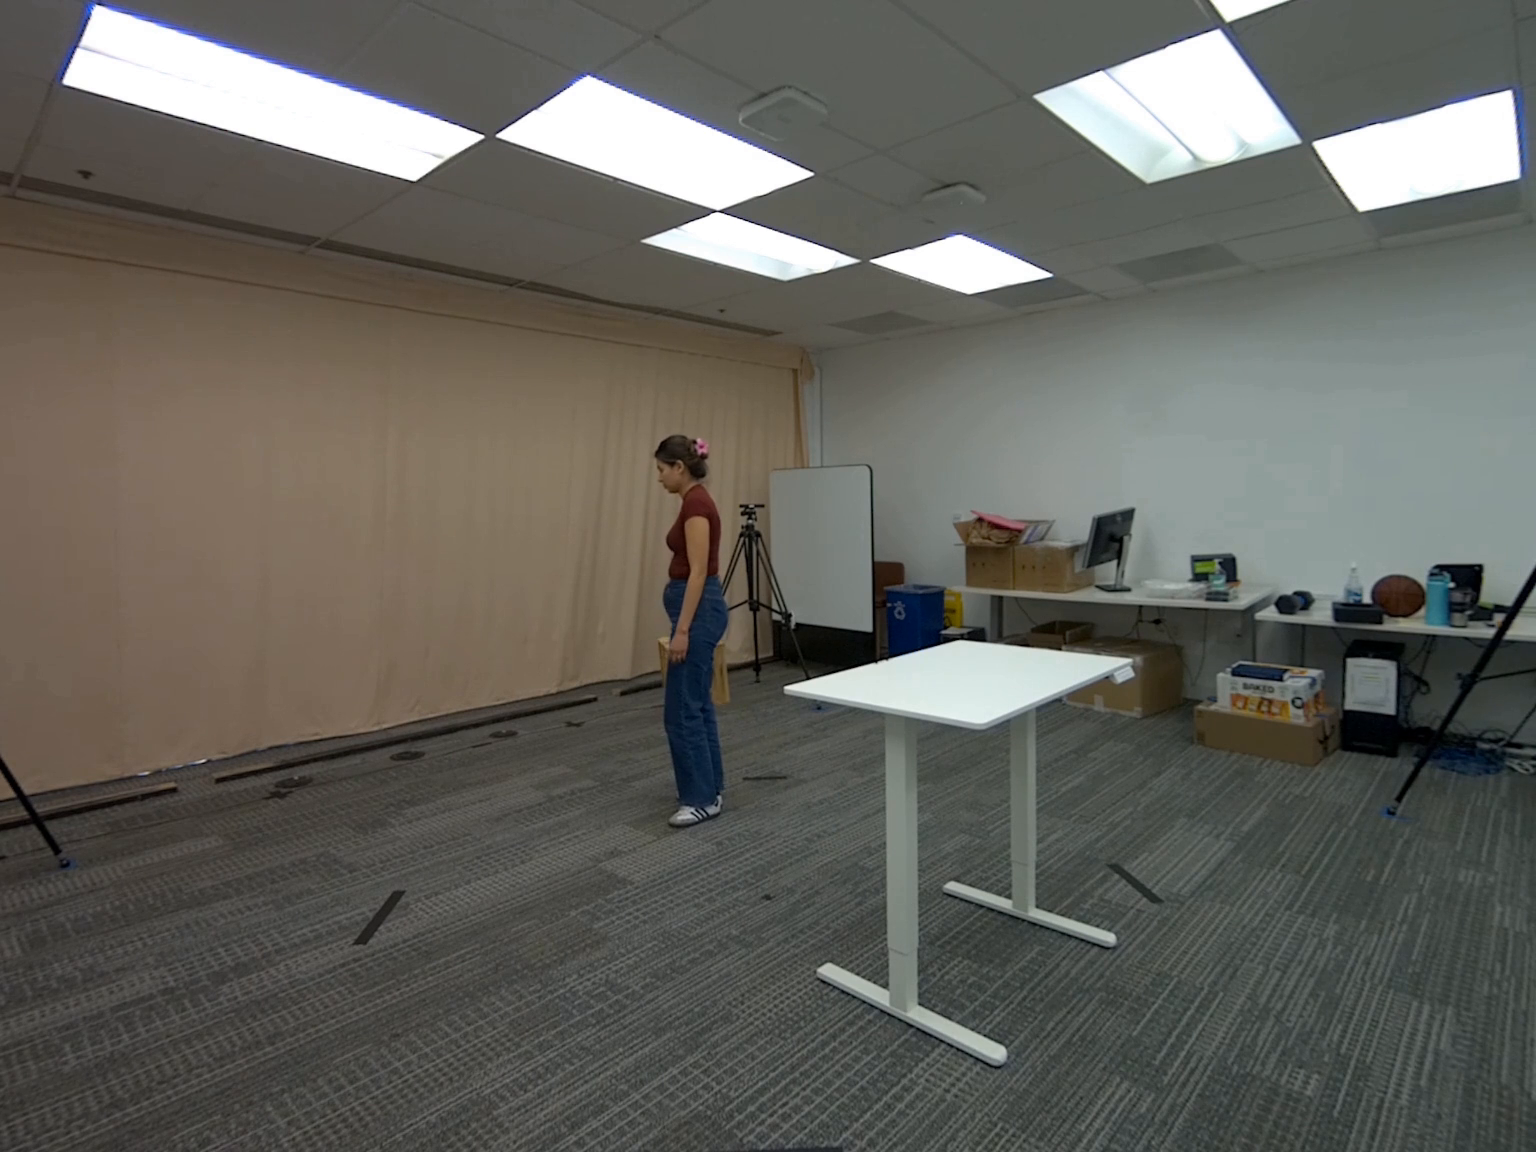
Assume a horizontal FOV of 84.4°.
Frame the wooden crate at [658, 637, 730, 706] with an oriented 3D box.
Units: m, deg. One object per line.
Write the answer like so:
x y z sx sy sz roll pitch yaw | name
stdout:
-0.370 0.466 4.177 0.269 0.322 0.309 -9 12 -19 | wooden crate
